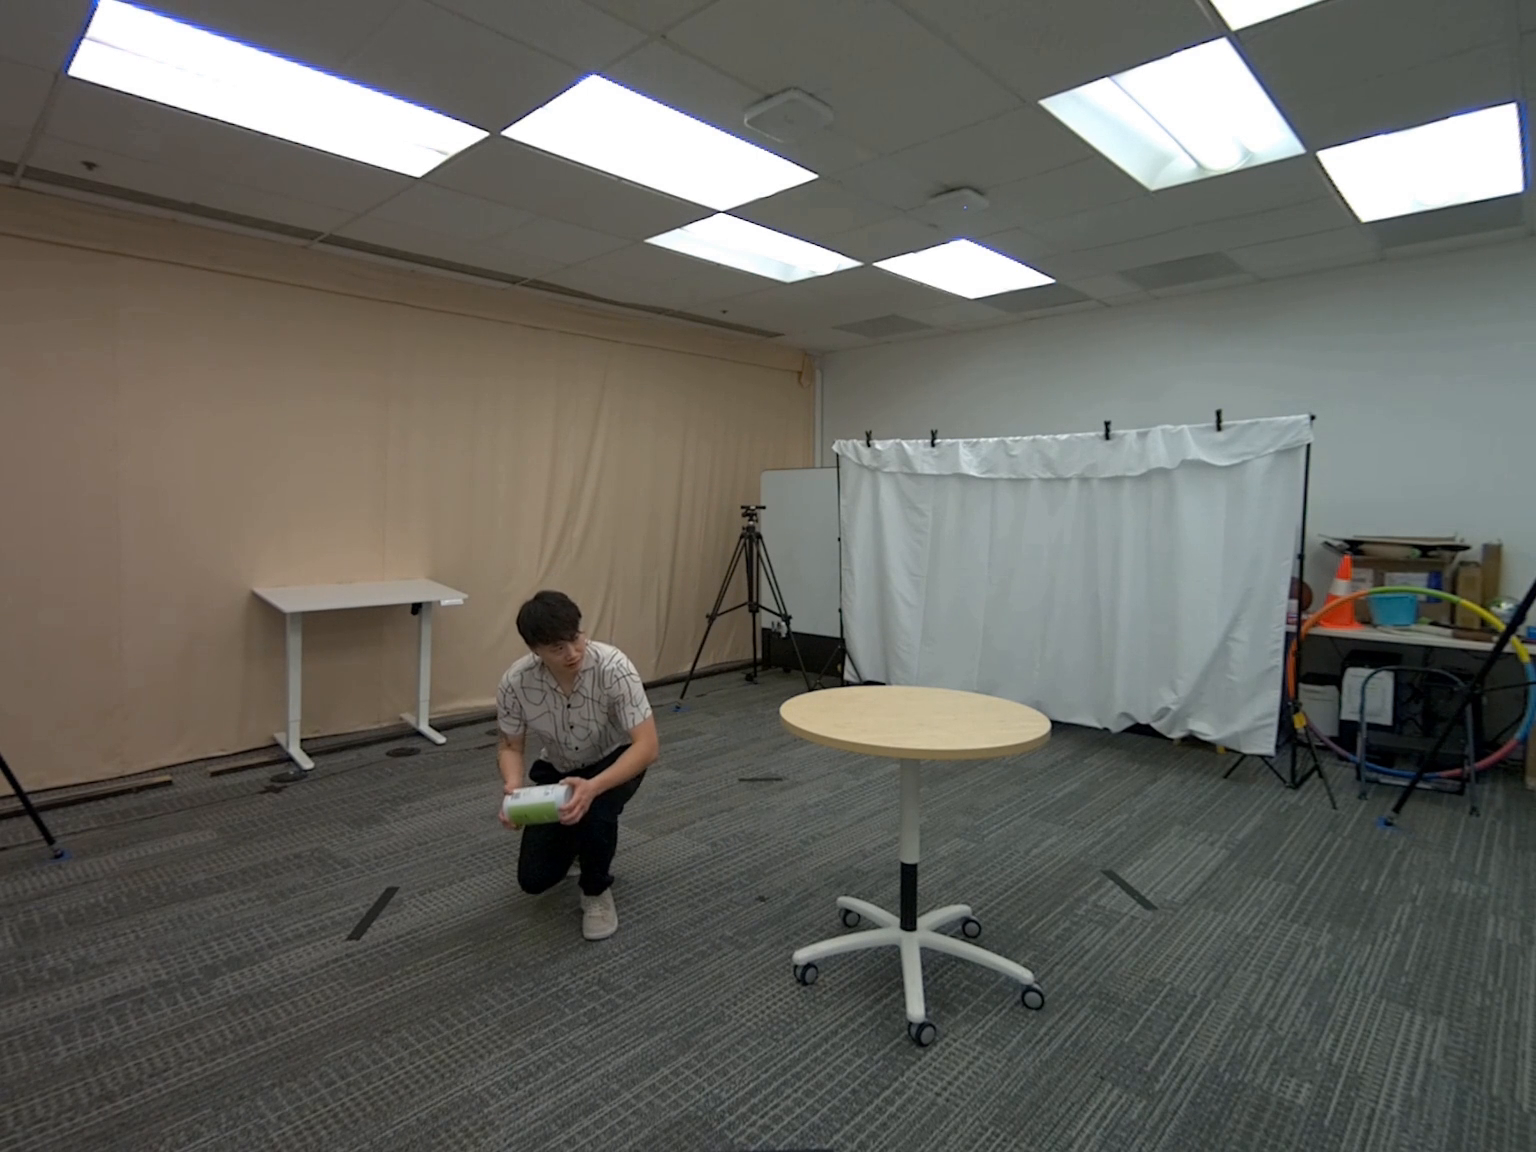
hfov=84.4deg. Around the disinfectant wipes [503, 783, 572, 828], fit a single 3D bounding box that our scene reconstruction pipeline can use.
[{"bbox_3d":[-0.685,0.690,2.554,0.221,0.118,0.116,-11,1,16],"label":"disinfectant wipes"}]
